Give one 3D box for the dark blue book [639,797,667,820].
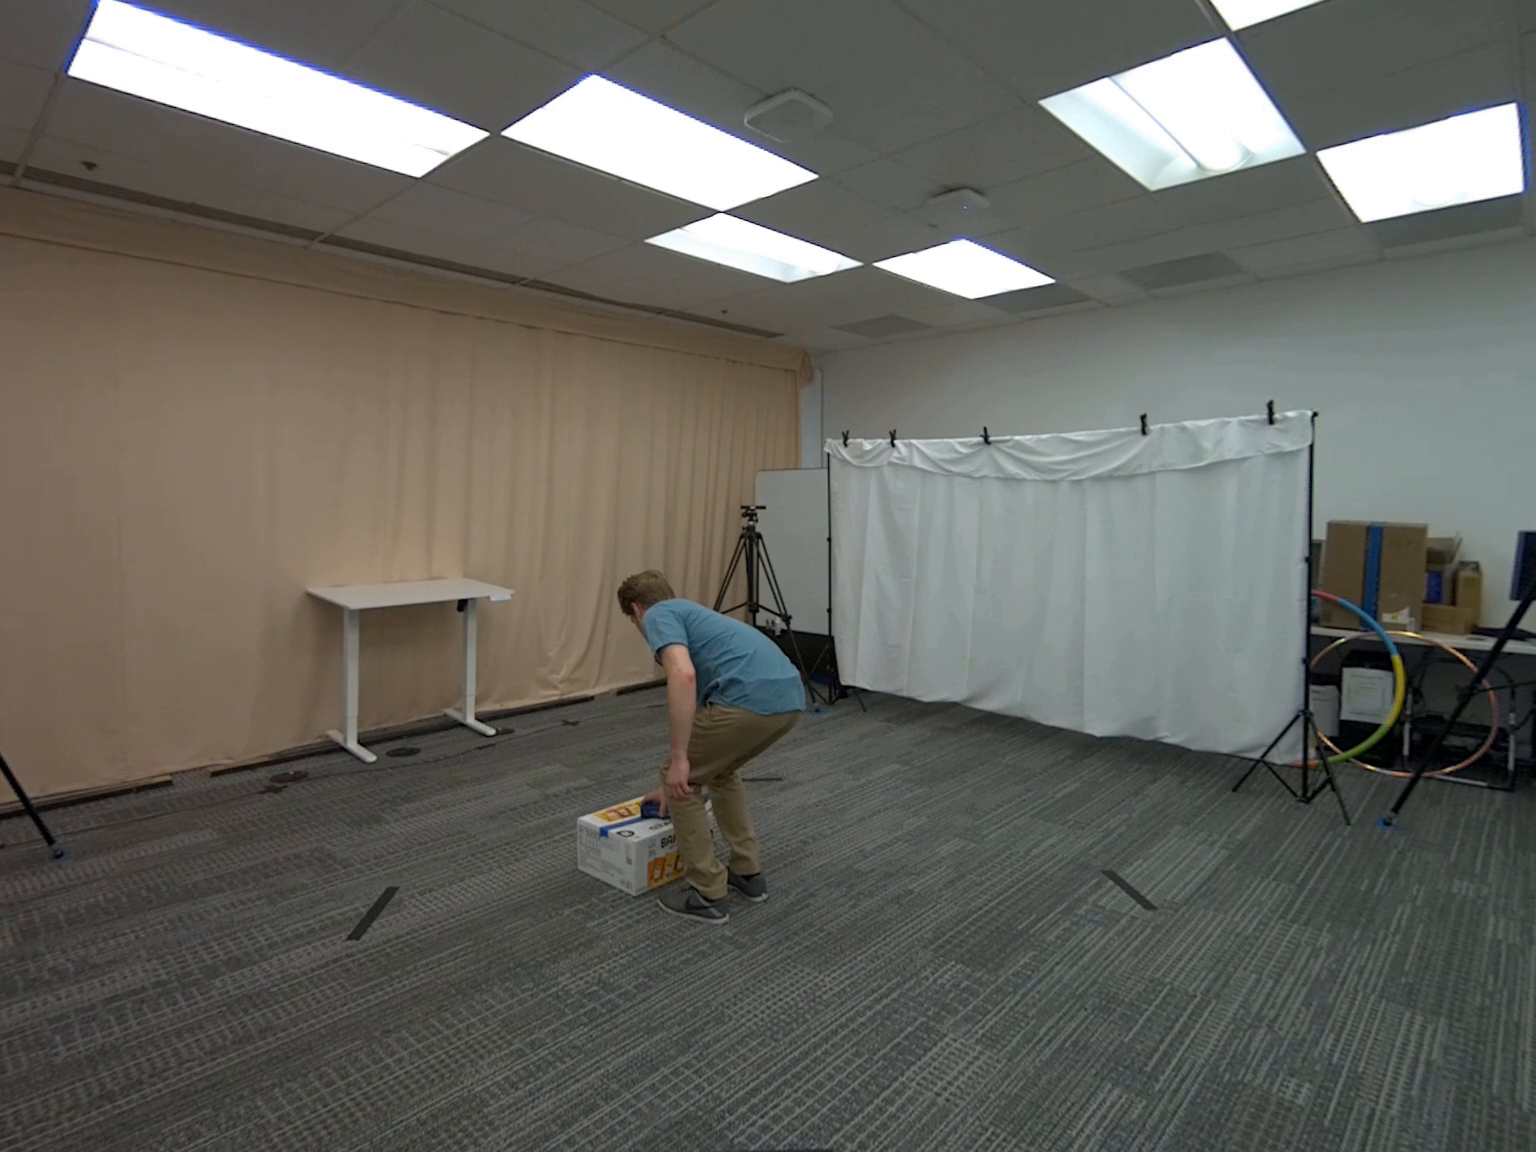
[{"bbox_3d":[-0.362,0.905,3.290,0.250,0.045,0.161,-3,8,19],"label":"dark blue book"}]
